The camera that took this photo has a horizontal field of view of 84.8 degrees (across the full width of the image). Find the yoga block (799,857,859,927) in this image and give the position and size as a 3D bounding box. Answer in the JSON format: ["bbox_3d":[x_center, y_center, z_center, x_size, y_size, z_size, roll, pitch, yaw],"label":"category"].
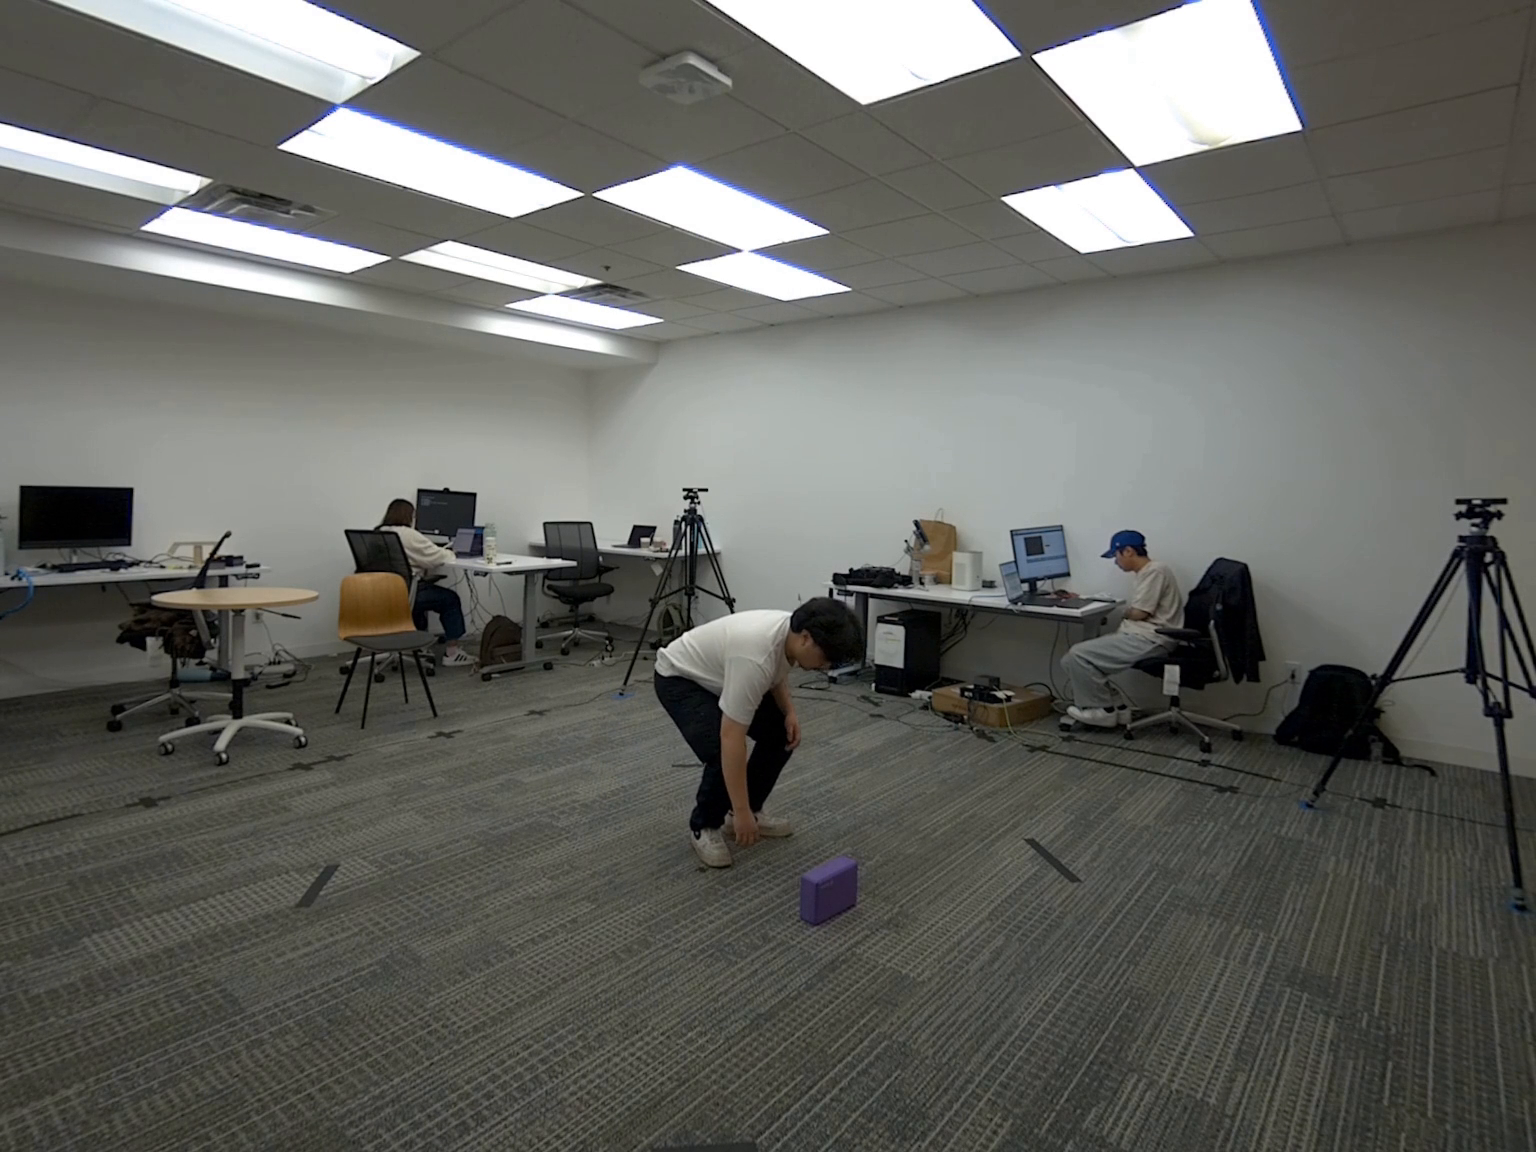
[{"bbox_3d":[0.197,1.032,2.815,0.079,0.148,0.222,6,7,43],"label":"yoga block"}]
